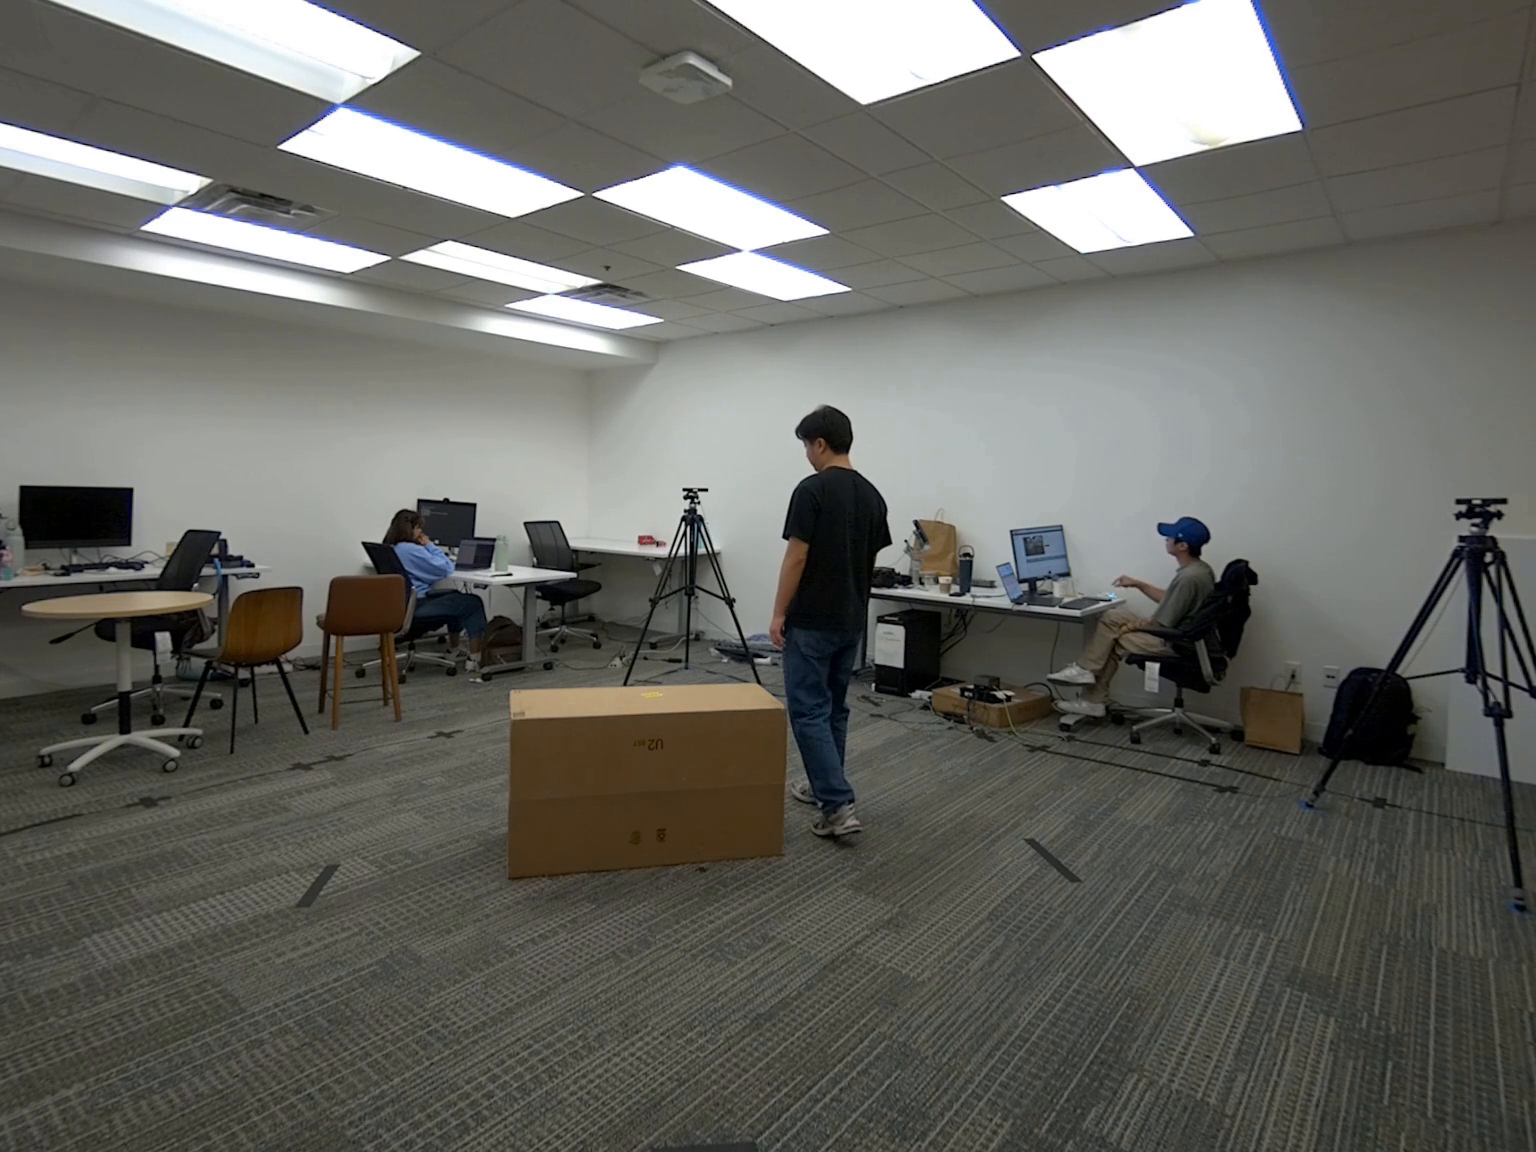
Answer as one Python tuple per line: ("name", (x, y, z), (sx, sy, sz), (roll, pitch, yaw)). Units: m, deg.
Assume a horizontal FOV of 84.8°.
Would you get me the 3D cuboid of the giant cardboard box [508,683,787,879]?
("giant cardboard box", (-0.492, 0.758, 3.306), (1.011, 0.583, 0.455), (0, 3, -15))
